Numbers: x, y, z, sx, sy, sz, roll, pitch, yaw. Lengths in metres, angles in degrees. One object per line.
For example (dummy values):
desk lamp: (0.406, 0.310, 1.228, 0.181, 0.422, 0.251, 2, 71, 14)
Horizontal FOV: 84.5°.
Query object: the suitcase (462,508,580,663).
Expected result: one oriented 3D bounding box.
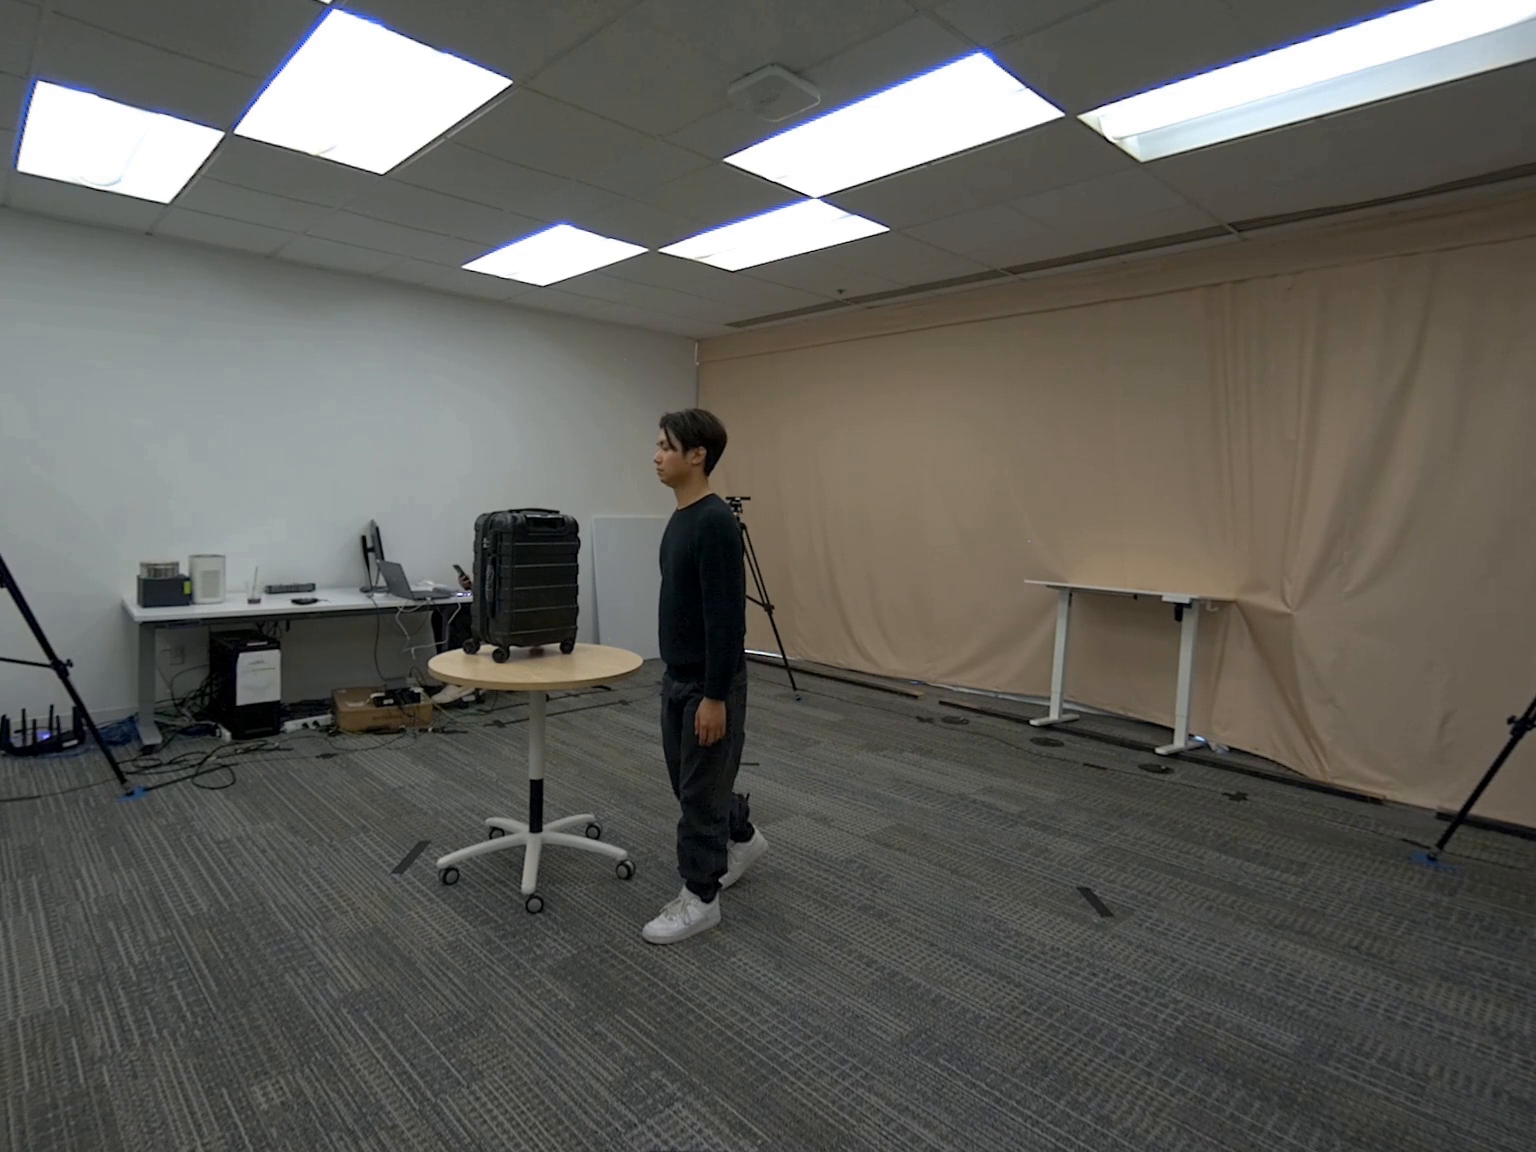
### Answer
suitcase: (-0.928, 0.020, 3.188, 0.255, 0.548, 0.367, 5, 5, 41)
